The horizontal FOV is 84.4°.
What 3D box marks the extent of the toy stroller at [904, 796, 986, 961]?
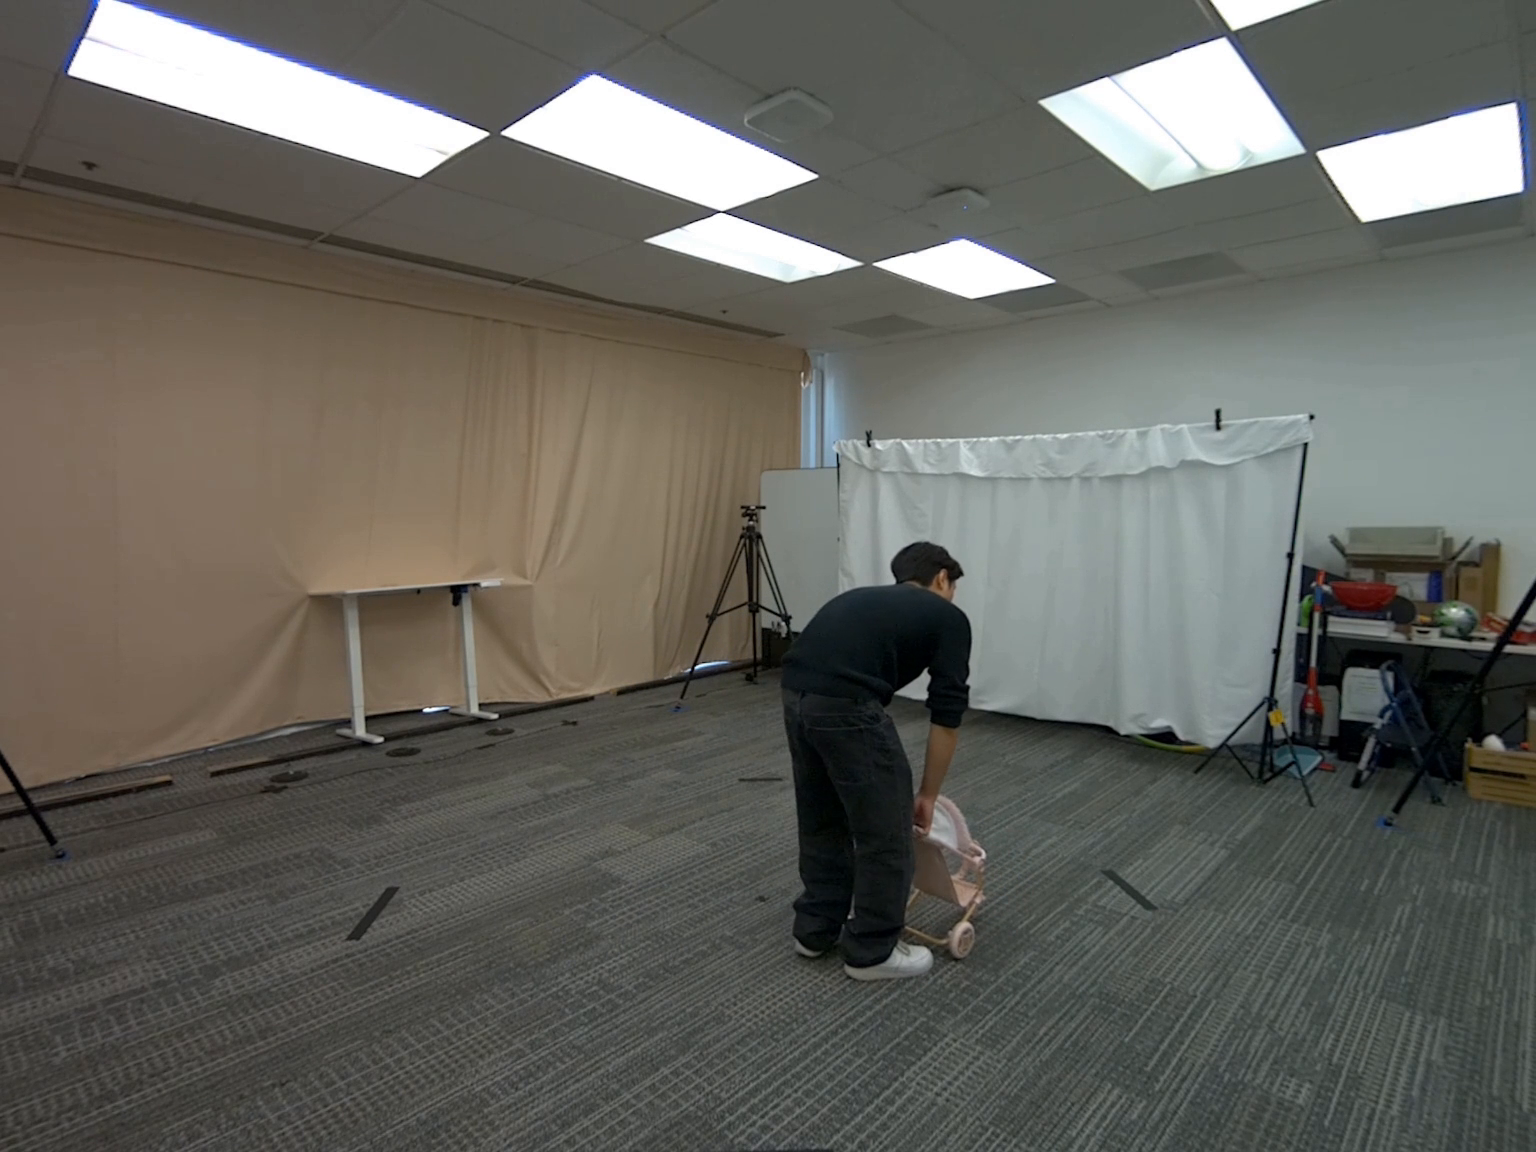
[{"bbox_3d":[0.563,0.939,2.713,0.334,0.529,0.291,-22,18,-38],"label":"toy stroller"}]
